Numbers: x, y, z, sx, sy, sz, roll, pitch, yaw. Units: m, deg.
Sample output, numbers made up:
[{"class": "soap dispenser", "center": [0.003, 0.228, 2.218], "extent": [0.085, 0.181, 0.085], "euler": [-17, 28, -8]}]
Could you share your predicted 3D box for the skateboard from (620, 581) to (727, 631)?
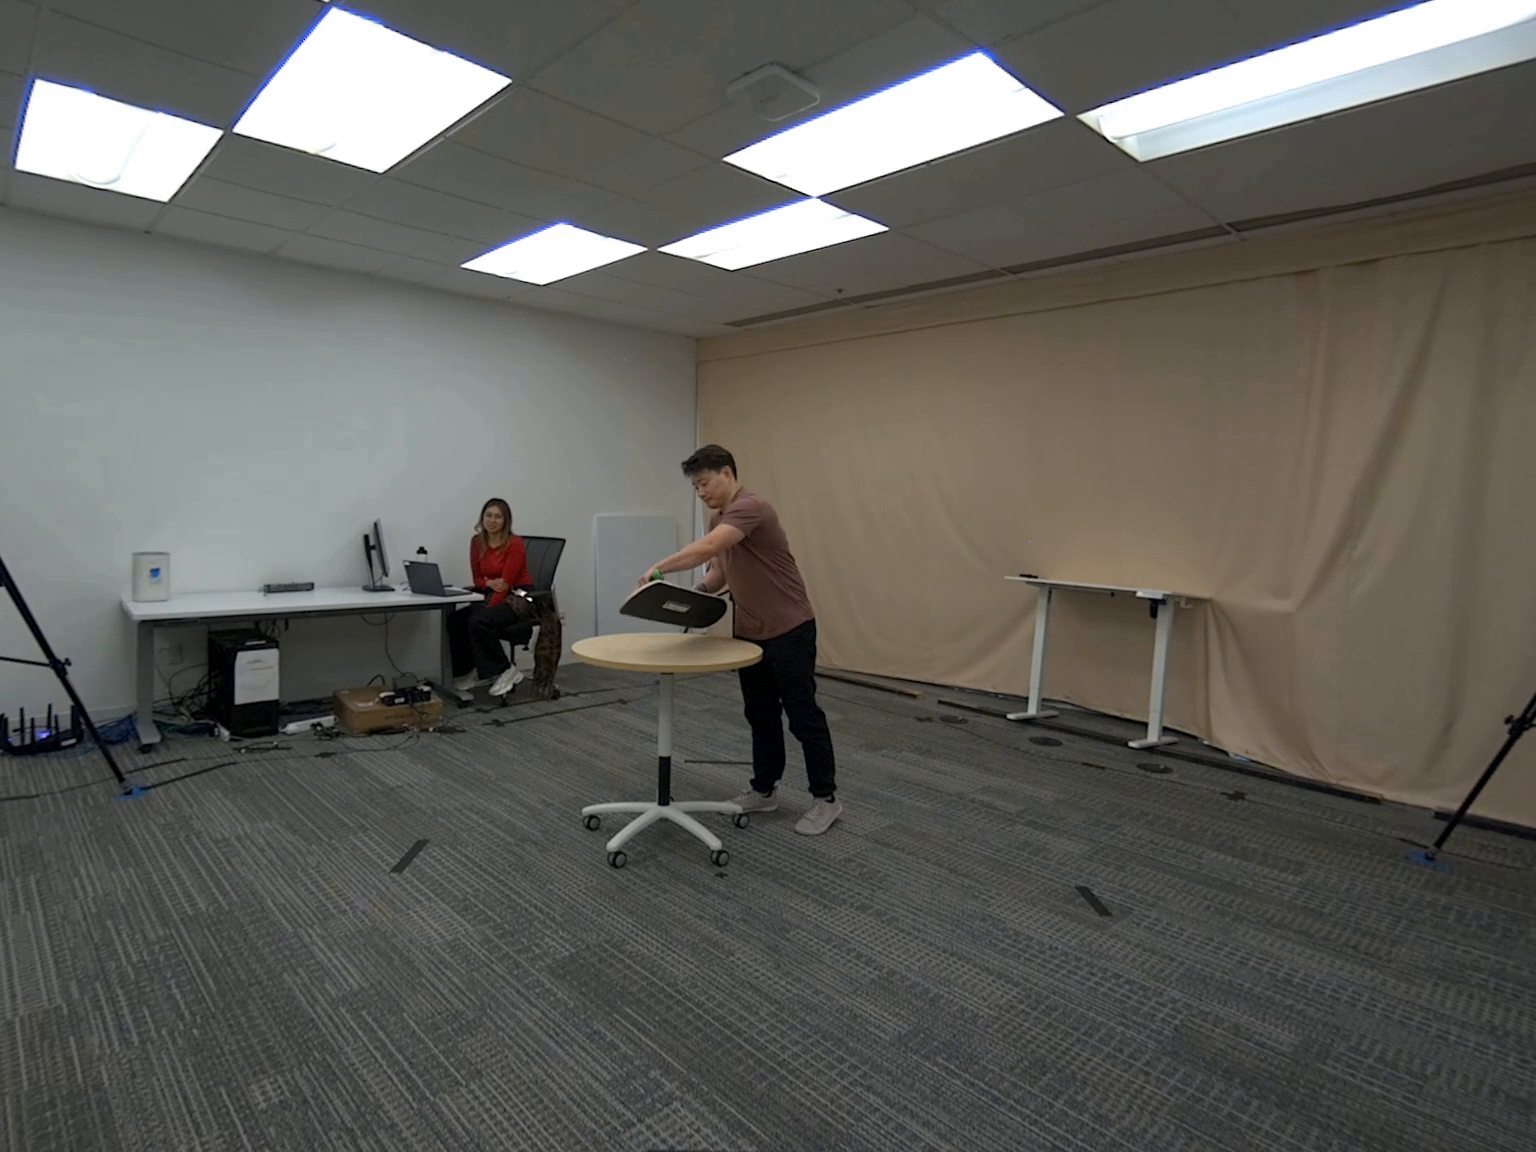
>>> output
[{"class": "skateboard", "center": [-0.387, 0.103, 3.402], "extent": [0.194, 0.113, 0.767], "euler": [-40, -21, 12]}]
